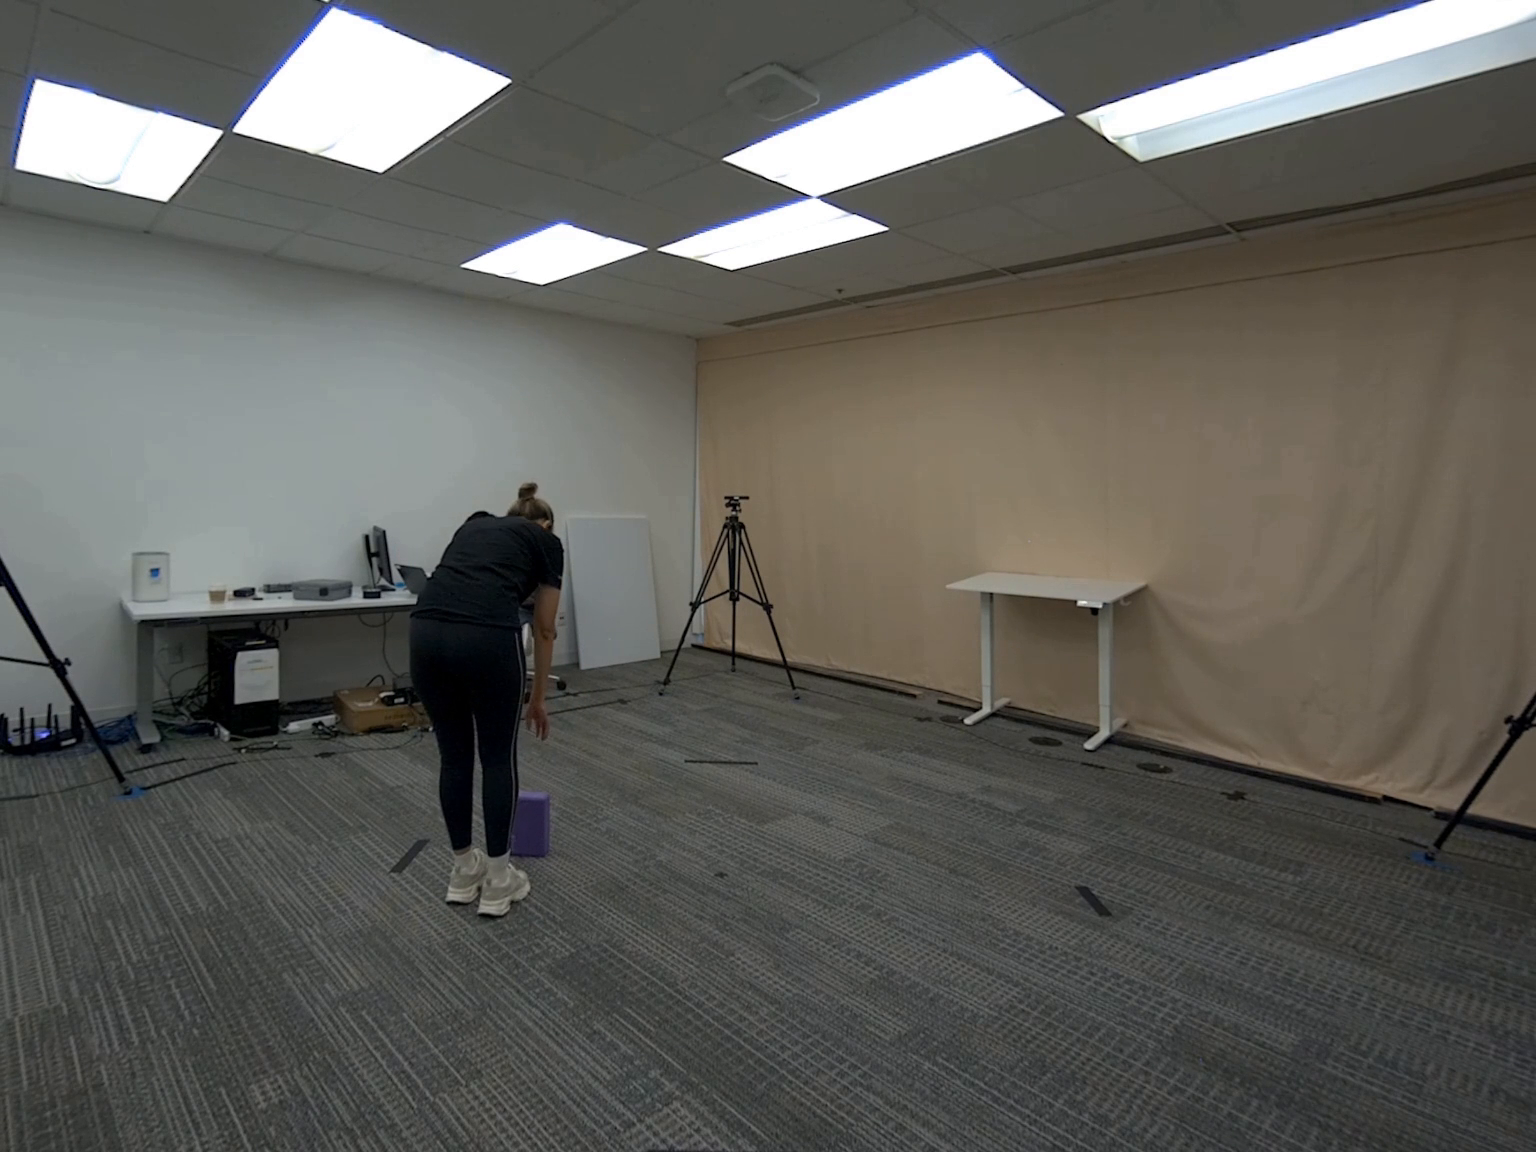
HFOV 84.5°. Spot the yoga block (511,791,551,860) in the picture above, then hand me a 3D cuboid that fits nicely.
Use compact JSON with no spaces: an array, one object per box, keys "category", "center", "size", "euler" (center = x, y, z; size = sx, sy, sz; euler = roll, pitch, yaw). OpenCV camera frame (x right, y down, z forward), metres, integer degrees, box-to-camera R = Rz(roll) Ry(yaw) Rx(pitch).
[{"category":"yoga block","center":[-0.931,0.959,3.252],"size":[0.150,0.229,0.076],"euler":[3,3,6]}]
